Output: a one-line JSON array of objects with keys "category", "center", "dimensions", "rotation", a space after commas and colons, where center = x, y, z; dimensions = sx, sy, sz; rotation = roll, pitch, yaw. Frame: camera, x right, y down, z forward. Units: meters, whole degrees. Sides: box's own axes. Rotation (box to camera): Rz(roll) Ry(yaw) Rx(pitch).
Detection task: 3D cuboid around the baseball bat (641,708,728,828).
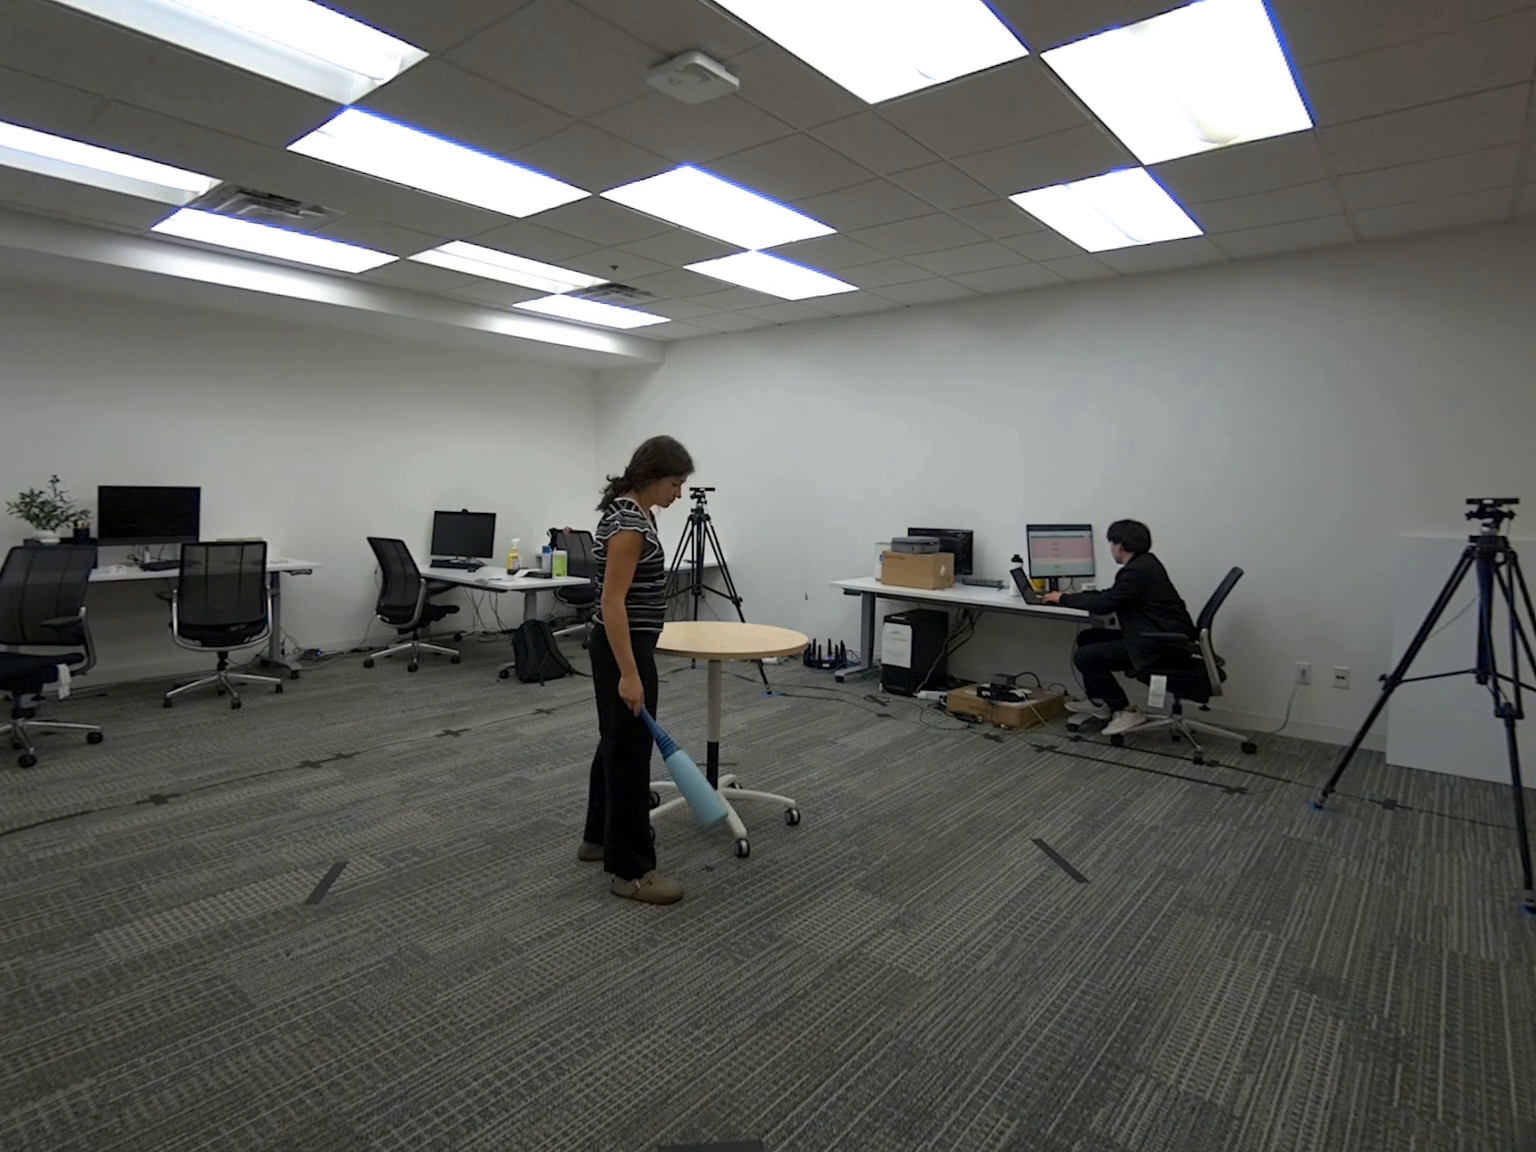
[{"category": "baseball bat", "center": [-0.307, 0.544, 2.706], "dimensions": [0.560, 0.089, 0.086], "rotation": [50, 27, 23]}]
